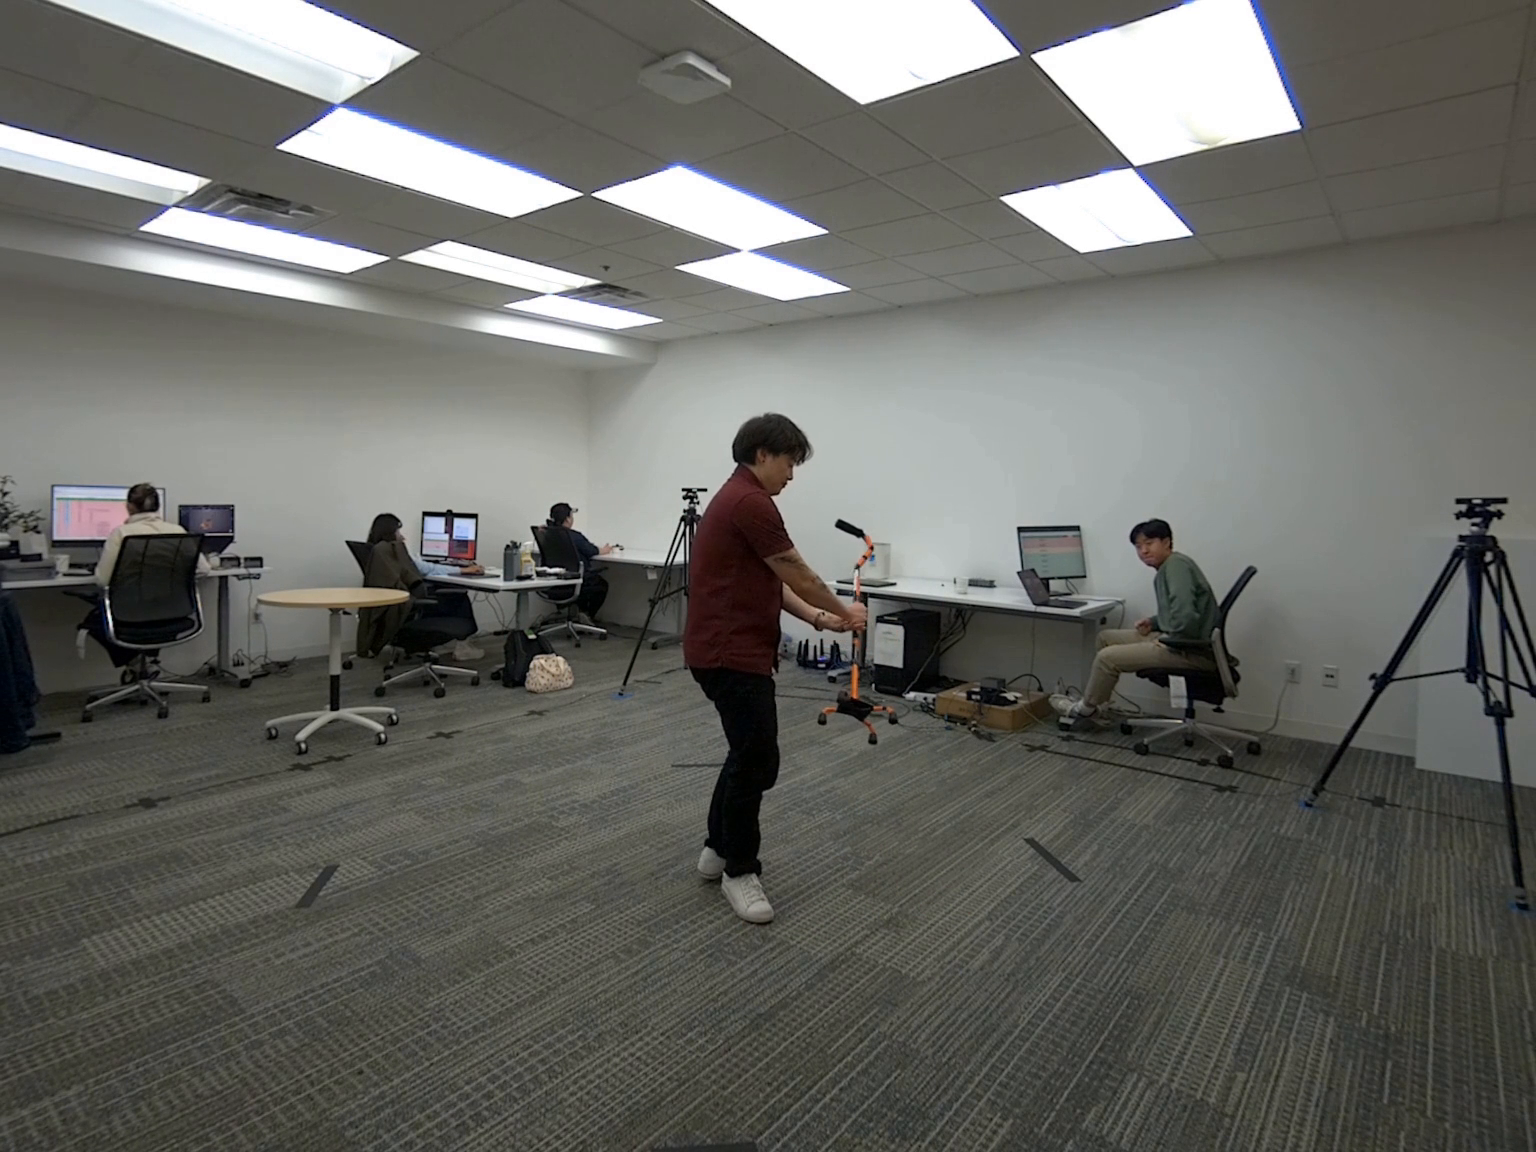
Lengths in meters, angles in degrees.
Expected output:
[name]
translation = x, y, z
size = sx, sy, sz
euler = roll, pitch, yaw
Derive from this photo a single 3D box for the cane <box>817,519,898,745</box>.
[cane]
translation = 0.303, 0.131, 2.928
size = 0.202, 0.930, 0.151
euler = 23, -48, -15
